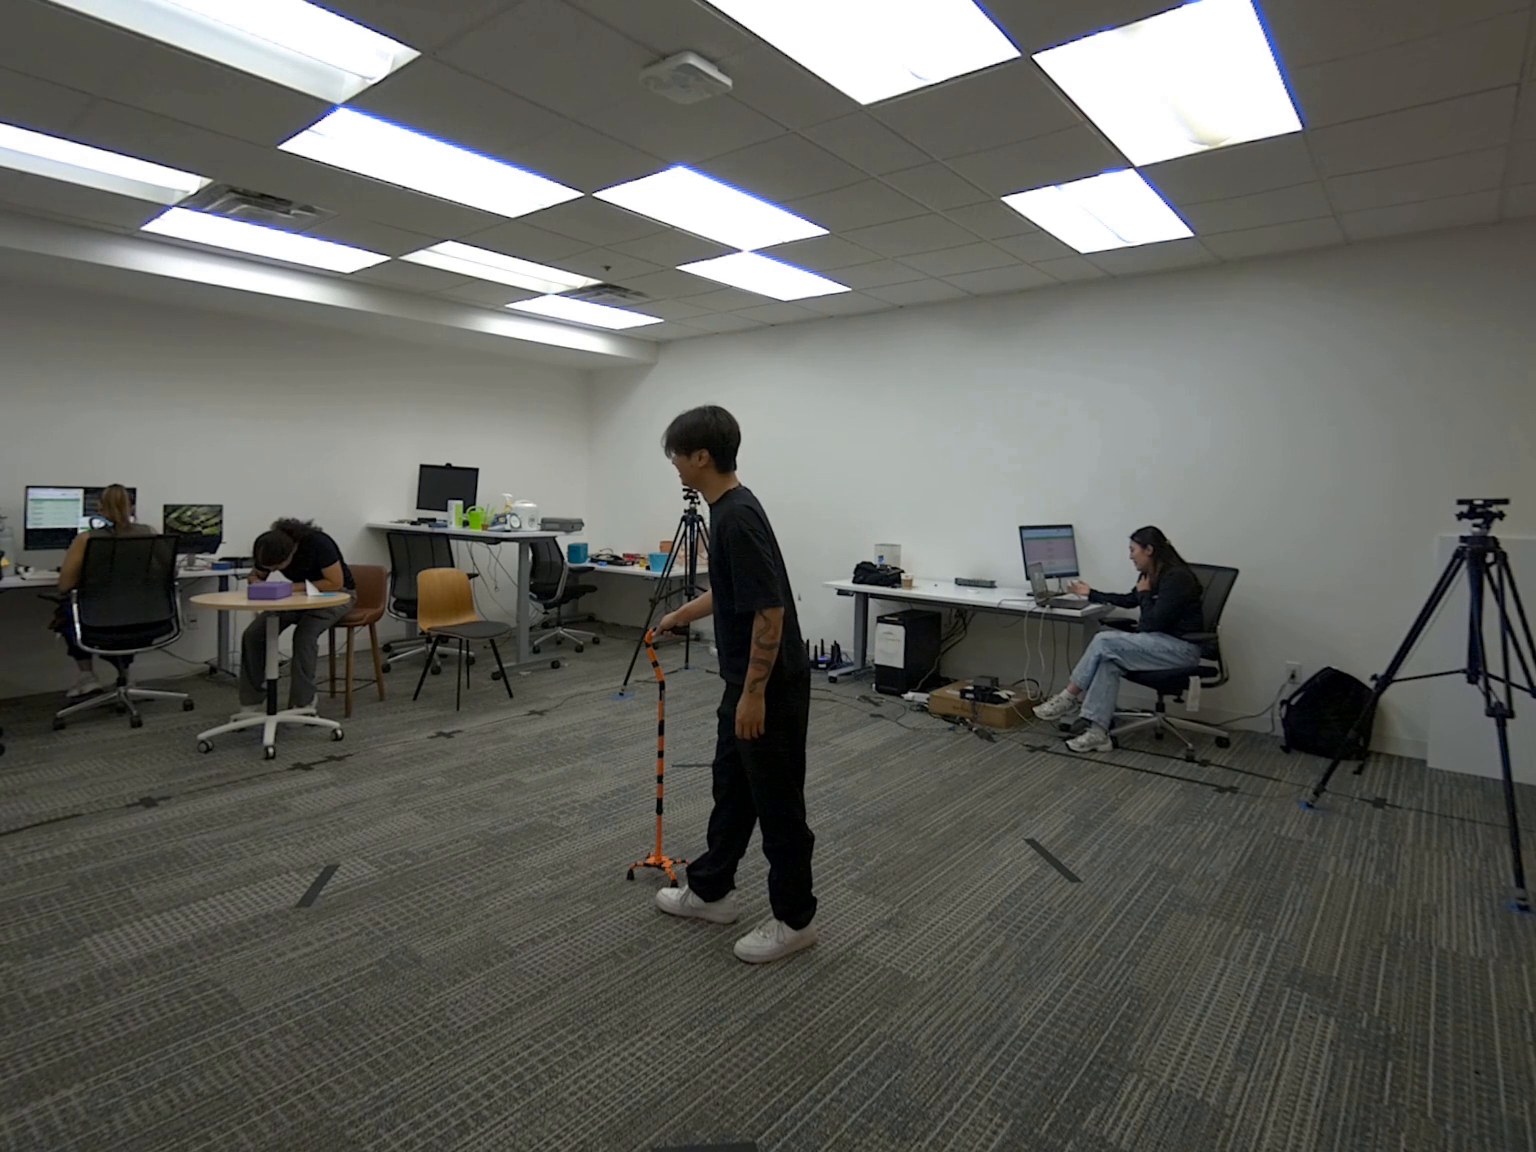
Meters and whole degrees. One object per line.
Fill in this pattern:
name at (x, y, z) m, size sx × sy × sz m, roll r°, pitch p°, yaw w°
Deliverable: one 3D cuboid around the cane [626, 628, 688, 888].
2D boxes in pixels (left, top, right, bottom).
cane at (-0.381, 0.624, 3.024) m, size 0.211 × 0.906 × 0.148 m, roll 2°, pitch 2°, yaw 22°
